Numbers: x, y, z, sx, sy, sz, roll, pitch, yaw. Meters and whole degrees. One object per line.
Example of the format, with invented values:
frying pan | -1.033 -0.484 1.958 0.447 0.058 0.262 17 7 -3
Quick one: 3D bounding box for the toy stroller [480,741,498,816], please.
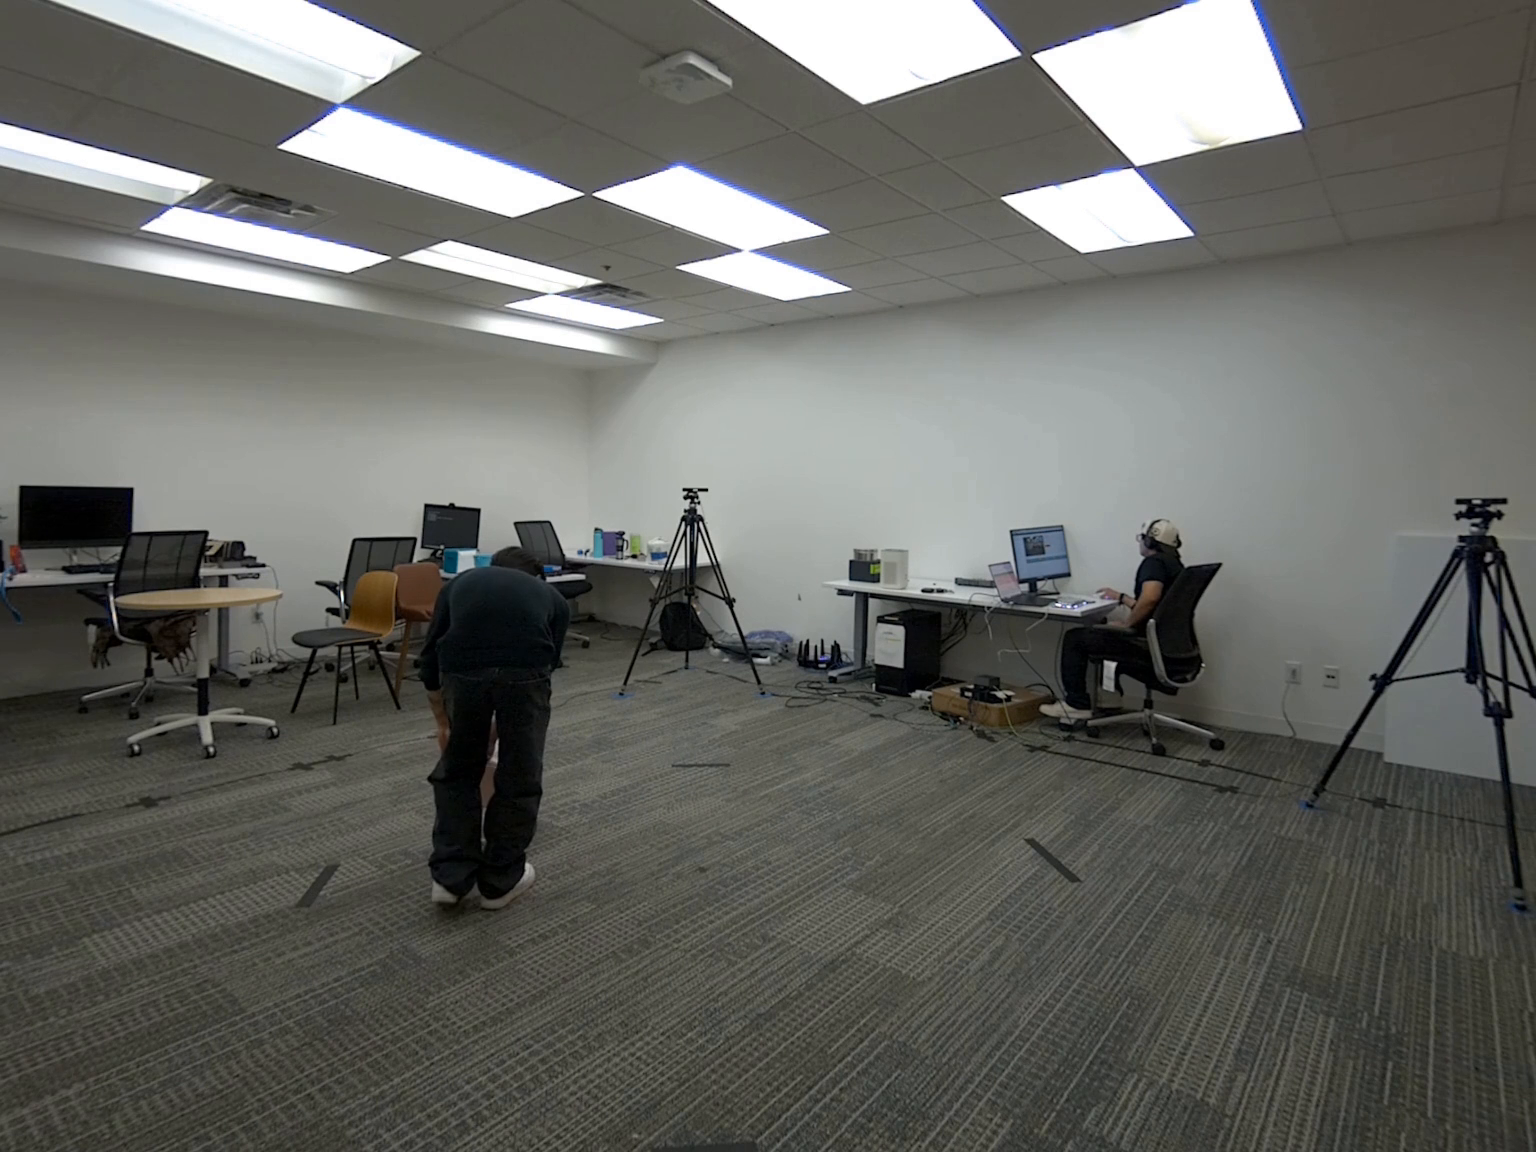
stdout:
toy stroller | -1.056 0.810 3.315 0.288 0.524 0.340 3 22 21
